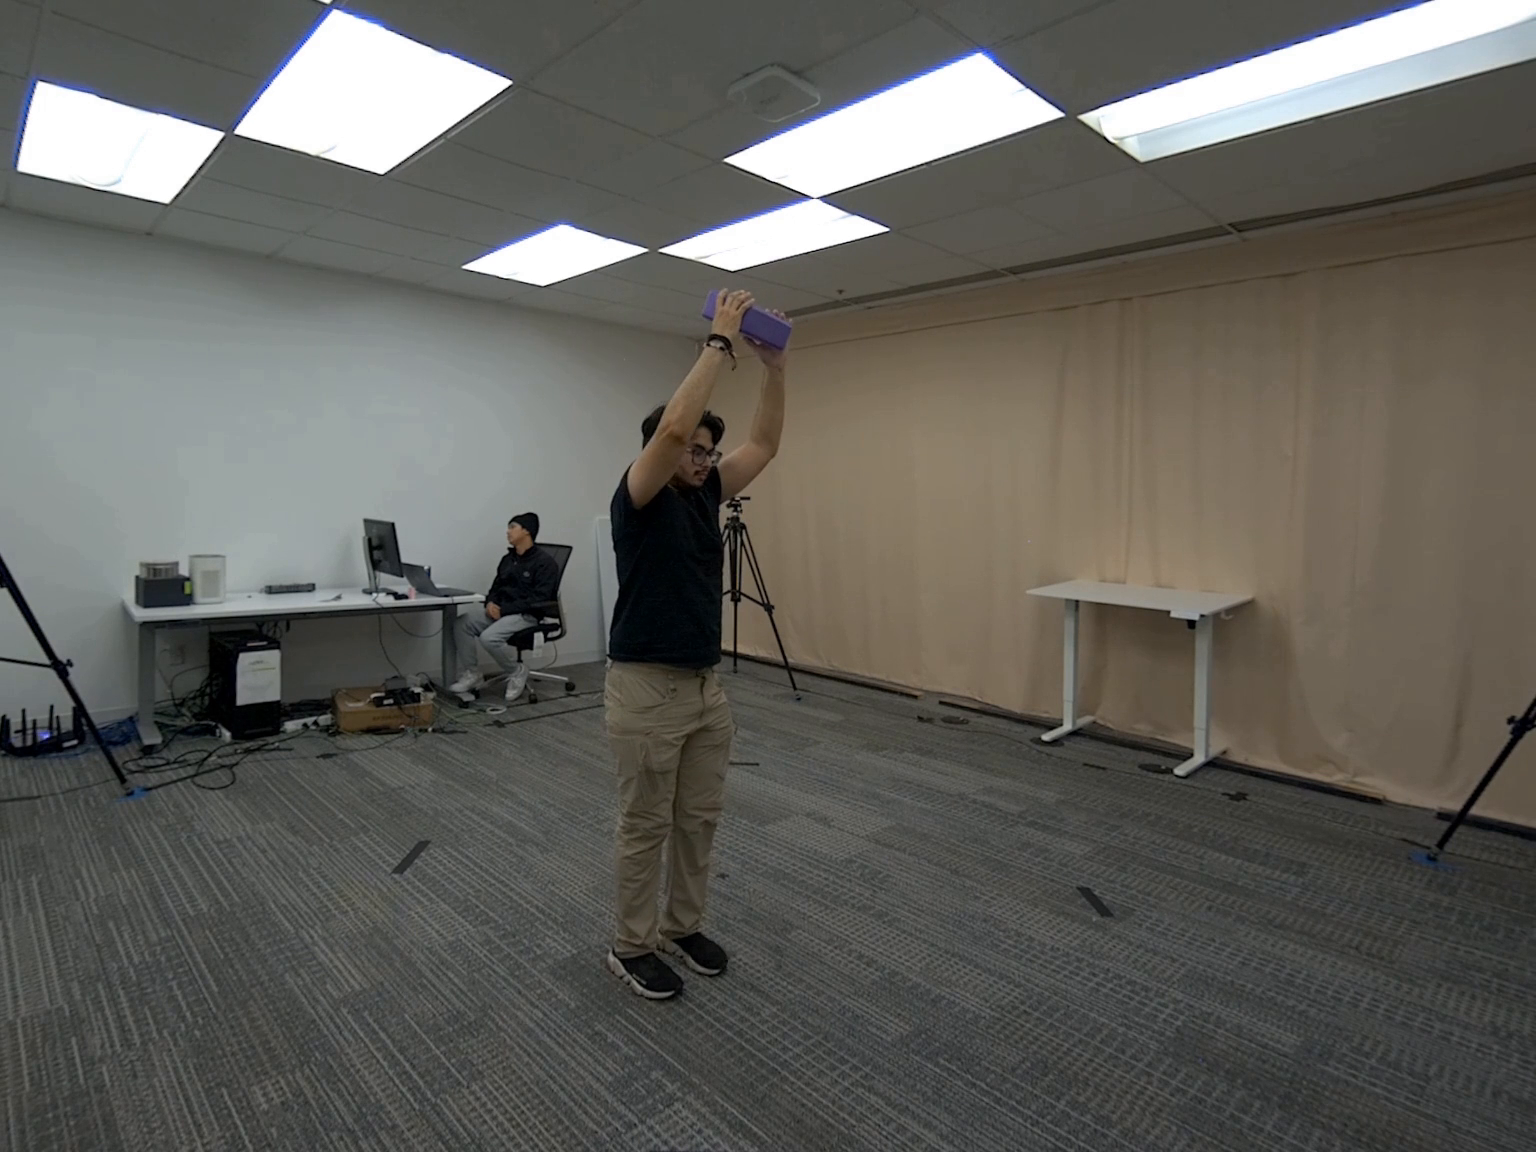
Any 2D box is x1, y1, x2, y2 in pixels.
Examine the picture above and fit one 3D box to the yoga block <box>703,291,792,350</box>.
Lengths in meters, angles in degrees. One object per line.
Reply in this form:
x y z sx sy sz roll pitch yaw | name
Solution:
-0.058 -0.699 2.291 0.153 0.076 0.224 28 13 27 | yoga block
